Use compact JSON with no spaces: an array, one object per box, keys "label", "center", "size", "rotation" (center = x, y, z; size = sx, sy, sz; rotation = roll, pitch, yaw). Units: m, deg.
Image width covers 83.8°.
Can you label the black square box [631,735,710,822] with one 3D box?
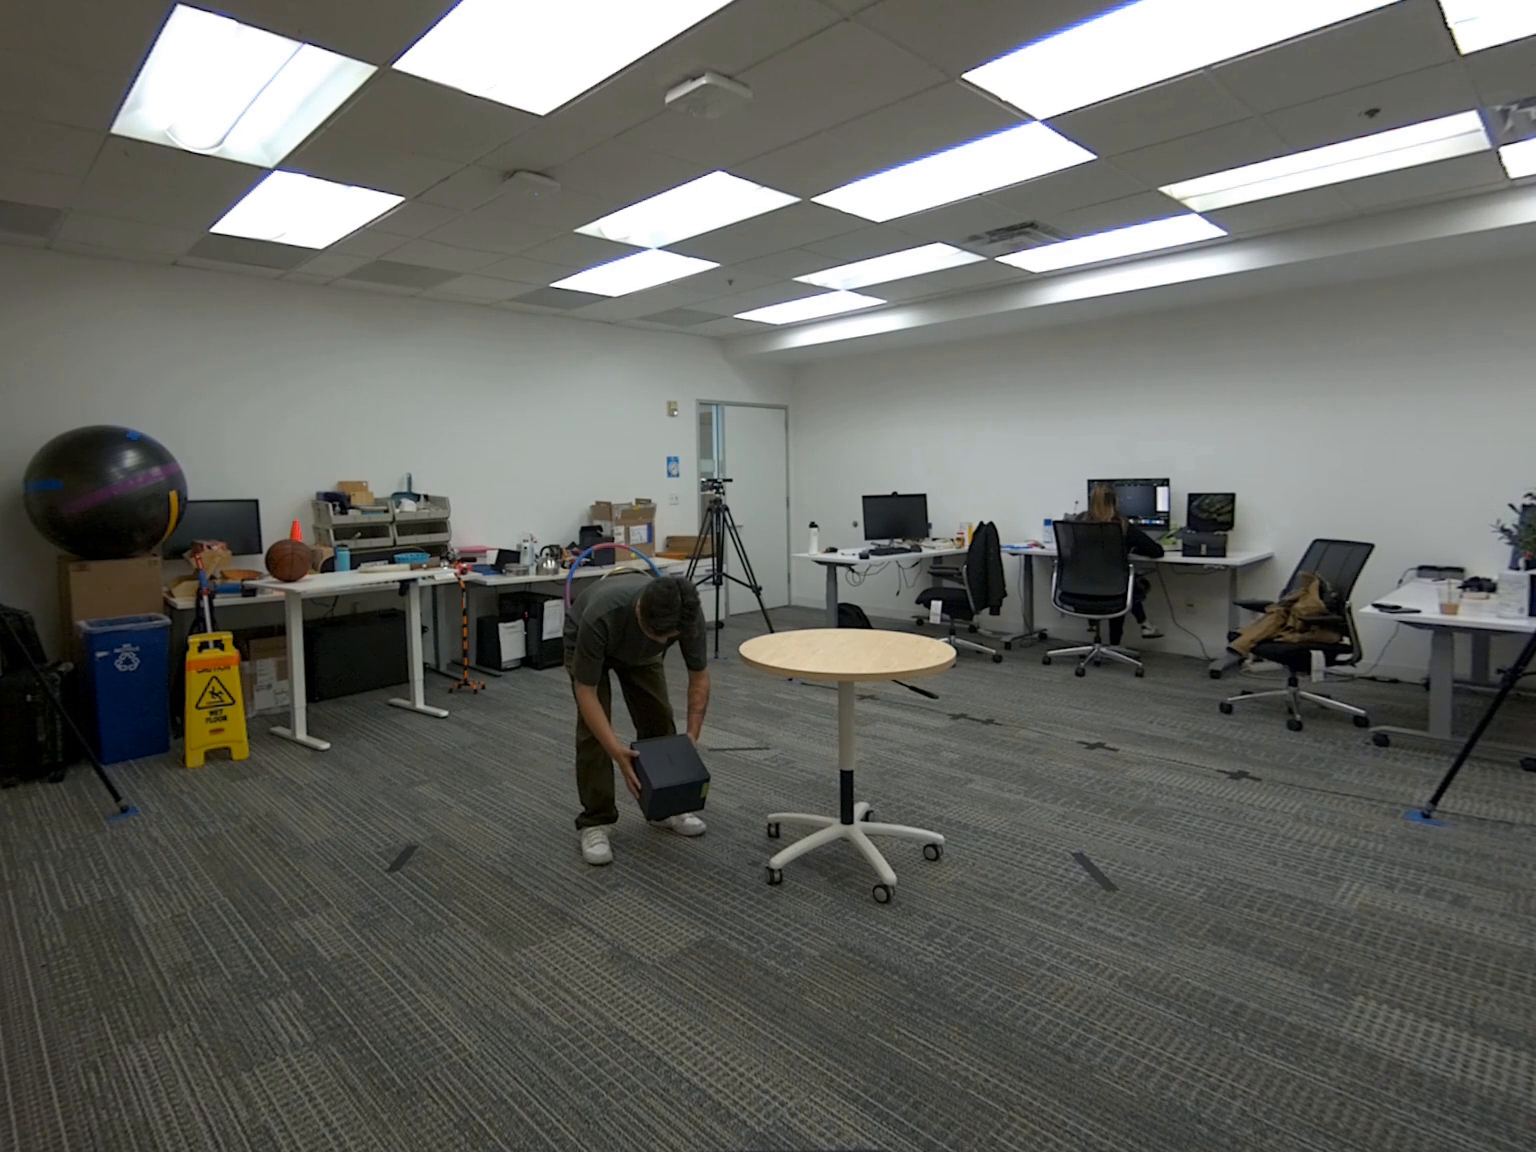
[{"label":"black square box","center":[-0.343,0.698,2.966],"size":[0.212,0.153,0.237],"rotation":[-5,33,-28]}]
